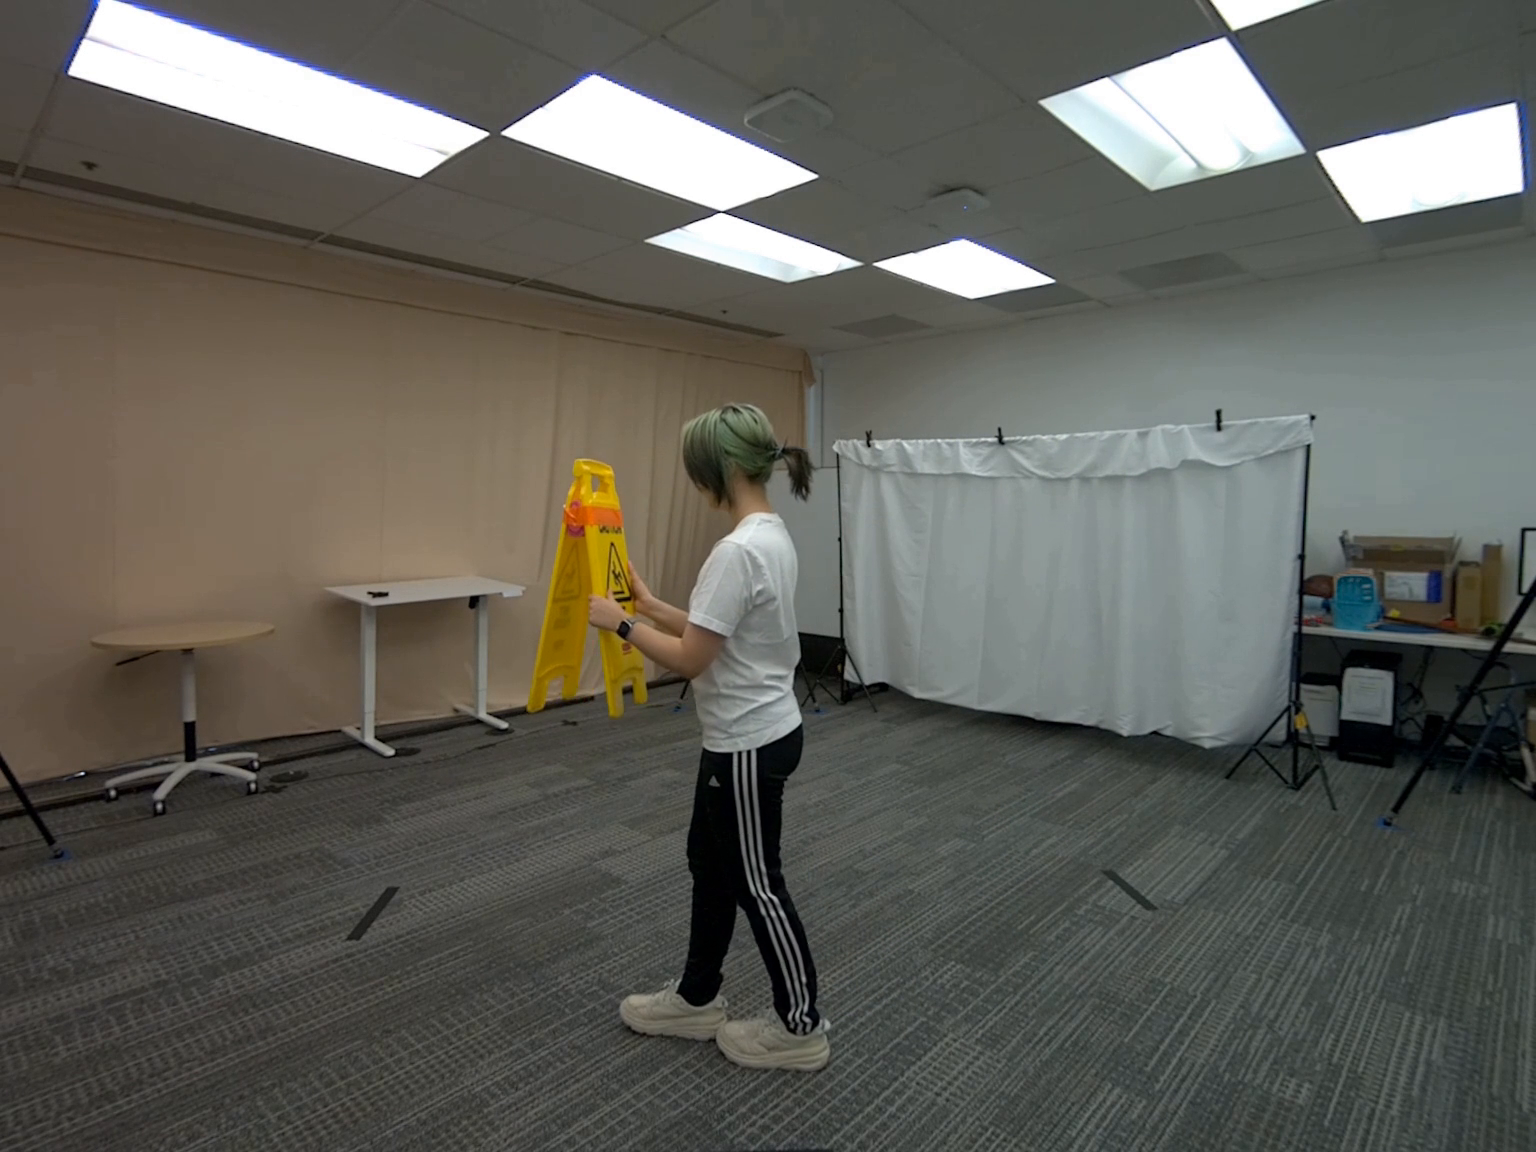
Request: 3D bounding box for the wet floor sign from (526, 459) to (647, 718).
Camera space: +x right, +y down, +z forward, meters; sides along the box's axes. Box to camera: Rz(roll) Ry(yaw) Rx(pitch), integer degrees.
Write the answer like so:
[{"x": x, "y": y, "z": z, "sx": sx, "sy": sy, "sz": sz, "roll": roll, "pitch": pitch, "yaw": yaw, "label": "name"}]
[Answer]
[{"x": -0.474, "y": 0.020, "z": 2.227, "sx": 0.294, "sy": 0.646, "sz": 0.278, "roll": 0, "pitch": -1, "yaw": 12, "label": "wet floor sign"}]
